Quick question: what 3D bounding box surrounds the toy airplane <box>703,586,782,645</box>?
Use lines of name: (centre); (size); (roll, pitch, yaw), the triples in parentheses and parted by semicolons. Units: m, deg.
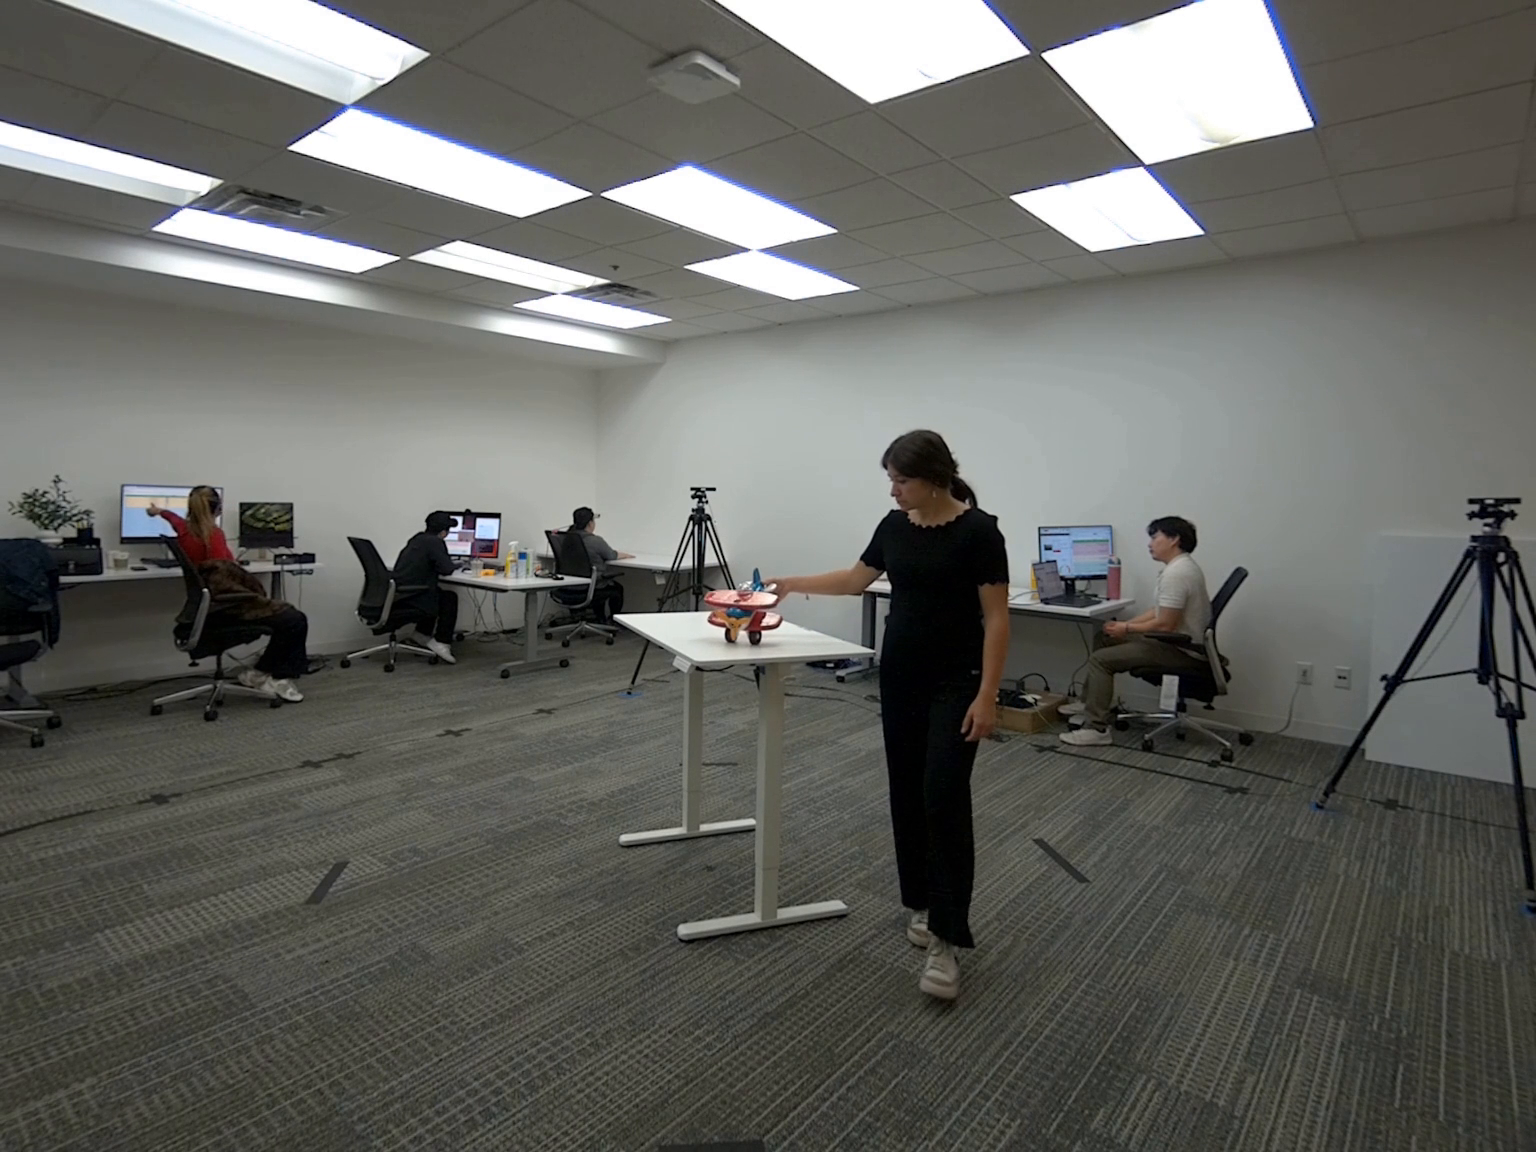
toy airplane: (-0.093, 0.099, 2.801); (0.252, 0.151, 0.268); (-16, 40, 3)
